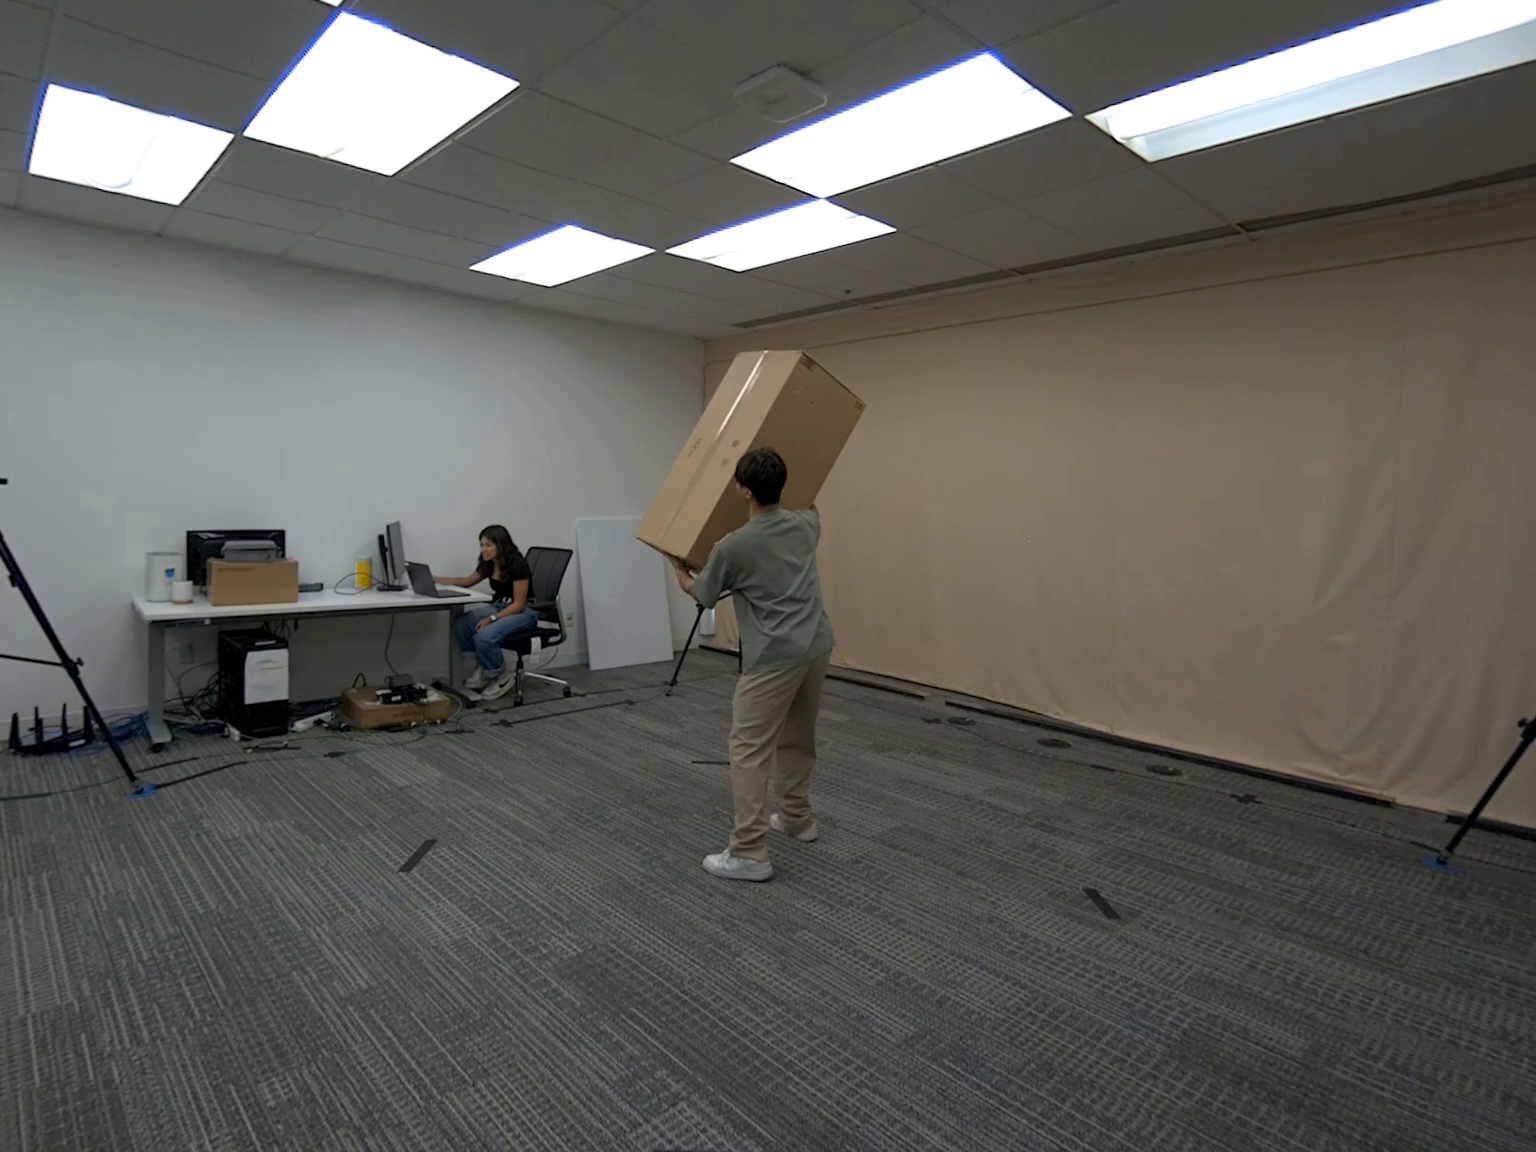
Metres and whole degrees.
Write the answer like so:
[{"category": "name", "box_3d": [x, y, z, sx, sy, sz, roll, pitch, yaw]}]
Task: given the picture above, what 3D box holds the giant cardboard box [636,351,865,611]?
[{"category": "giant cardboard box", "box_3d": [-0.110, -0.471, 3.850, 0.414, 1.027, 0.593, 33, -7, -32]}]
